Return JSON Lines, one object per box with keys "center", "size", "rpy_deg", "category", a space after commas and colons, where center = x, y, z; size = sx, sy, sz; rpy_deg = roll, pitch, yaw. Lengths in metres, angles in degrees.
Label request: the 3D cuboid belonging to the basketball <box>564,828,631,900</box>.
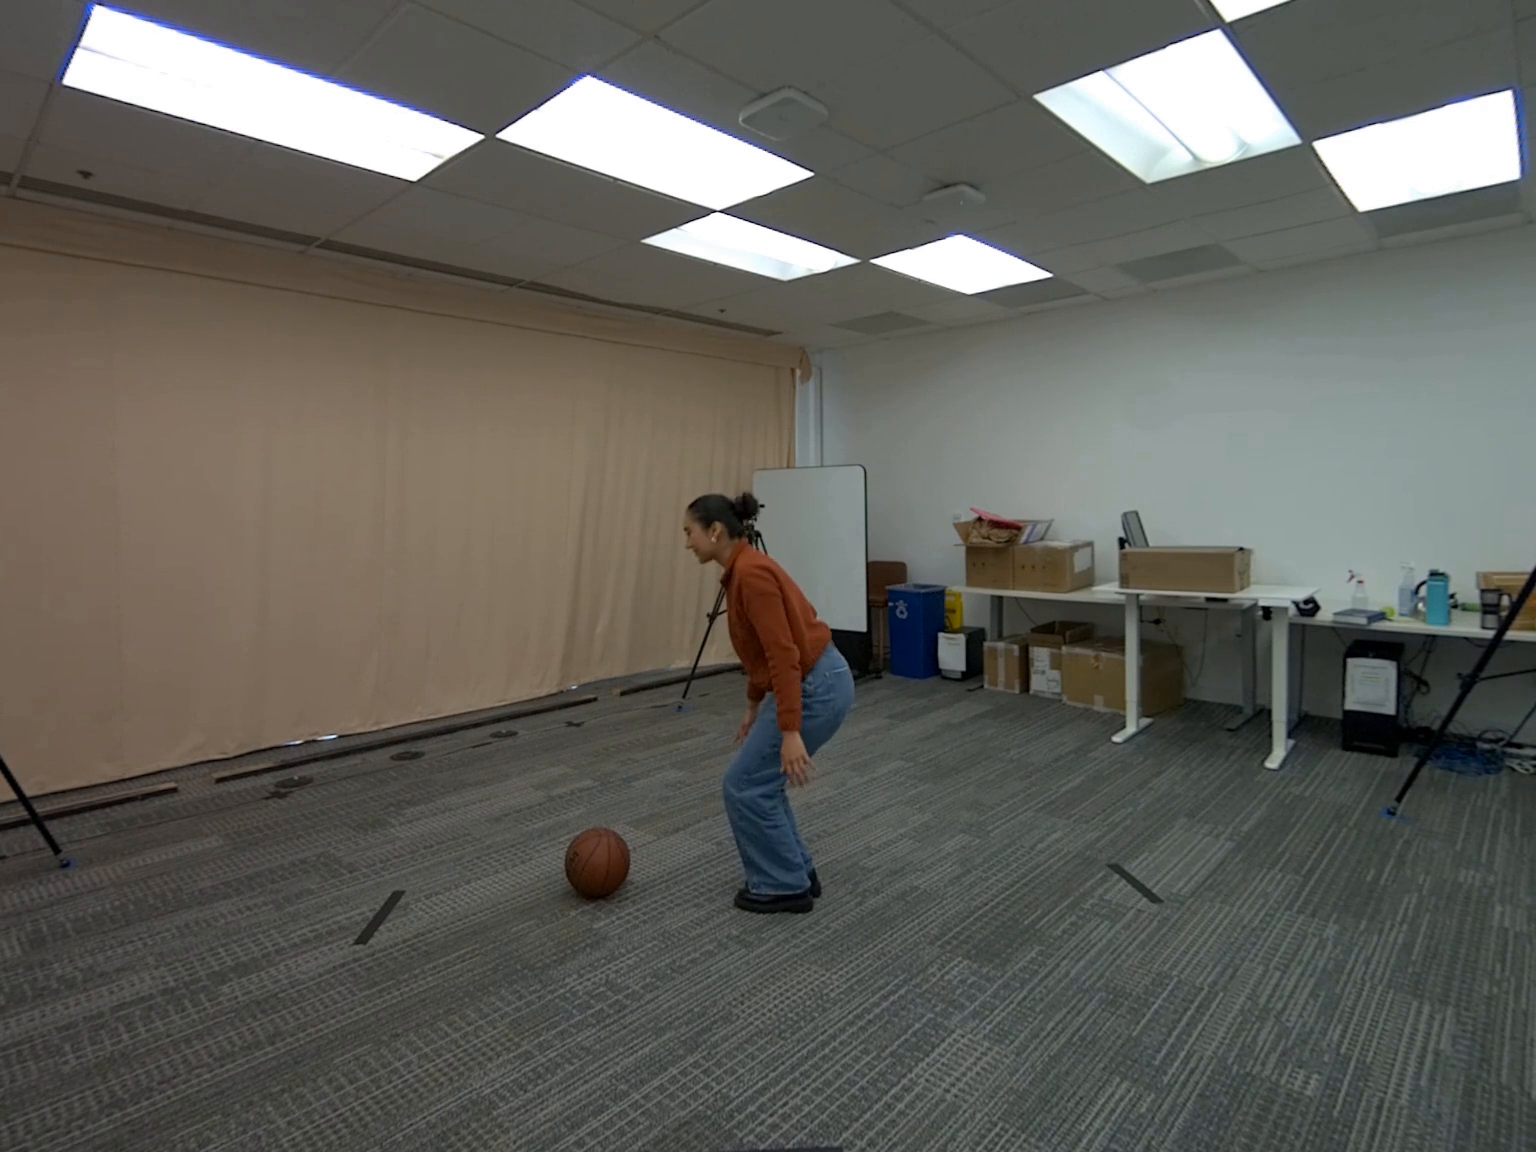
{"center": [-0.613, 1.029, 3.039], "size": [0.236, 0.235, 0.237], "rpy_deg": [-1, 4, -2], "category": "basketball"}
